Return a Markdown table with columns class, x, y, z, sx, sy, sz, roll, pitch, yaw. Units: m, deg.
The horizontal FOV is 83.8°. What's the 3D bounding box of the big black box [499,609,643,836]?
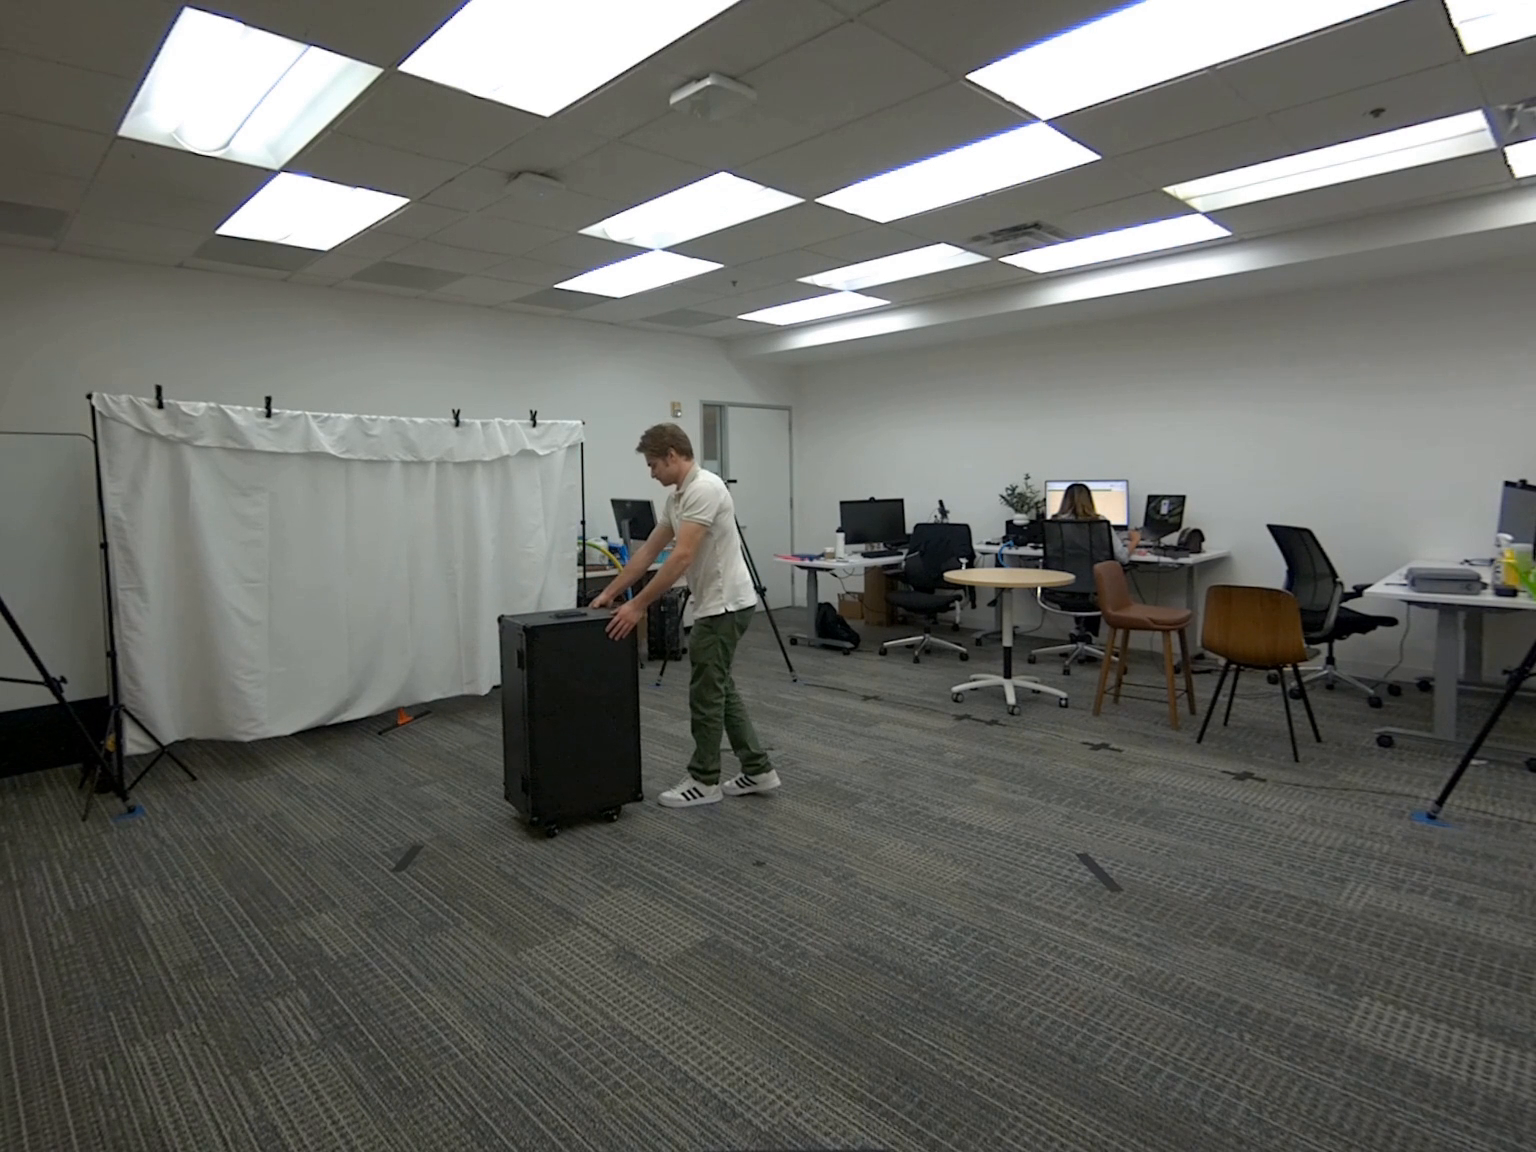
| class | x | y | z | sx | sy | sz | roll | pitch | yaw |
| --- | --- | --- | --- | --- | --- | --- | --- | --- | --- |
| big black box | -0.835 | 0.589 | 3.566 | 0.510 | 0.866 | 0.396 | -3 | 4 | -33 |
